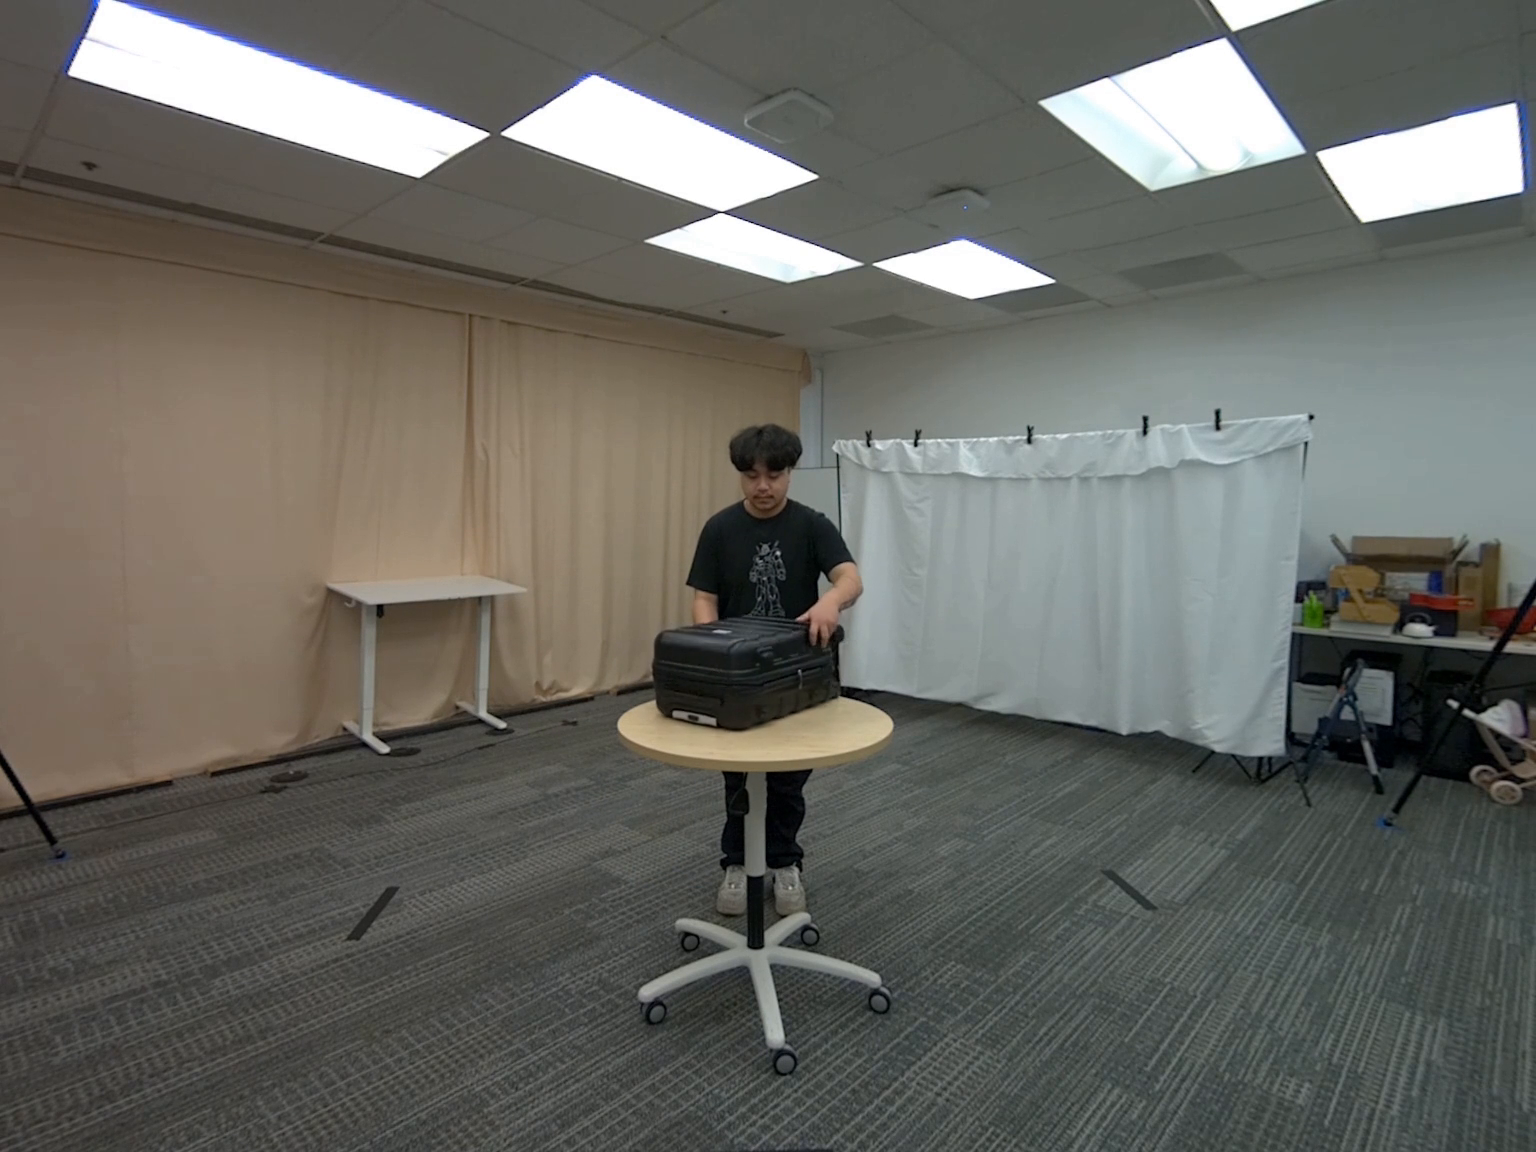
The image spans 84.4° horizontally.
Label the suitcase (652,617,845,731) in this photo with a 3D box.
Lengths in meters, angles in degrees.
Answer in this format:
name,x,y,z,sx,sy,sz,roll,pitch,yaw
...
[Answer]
name,x,y,z,sx,sy,sz,roll,pitch,yaw
suitcase,-0.053,0.274,2.495,0.387,0.247,0.533,4,6,36
